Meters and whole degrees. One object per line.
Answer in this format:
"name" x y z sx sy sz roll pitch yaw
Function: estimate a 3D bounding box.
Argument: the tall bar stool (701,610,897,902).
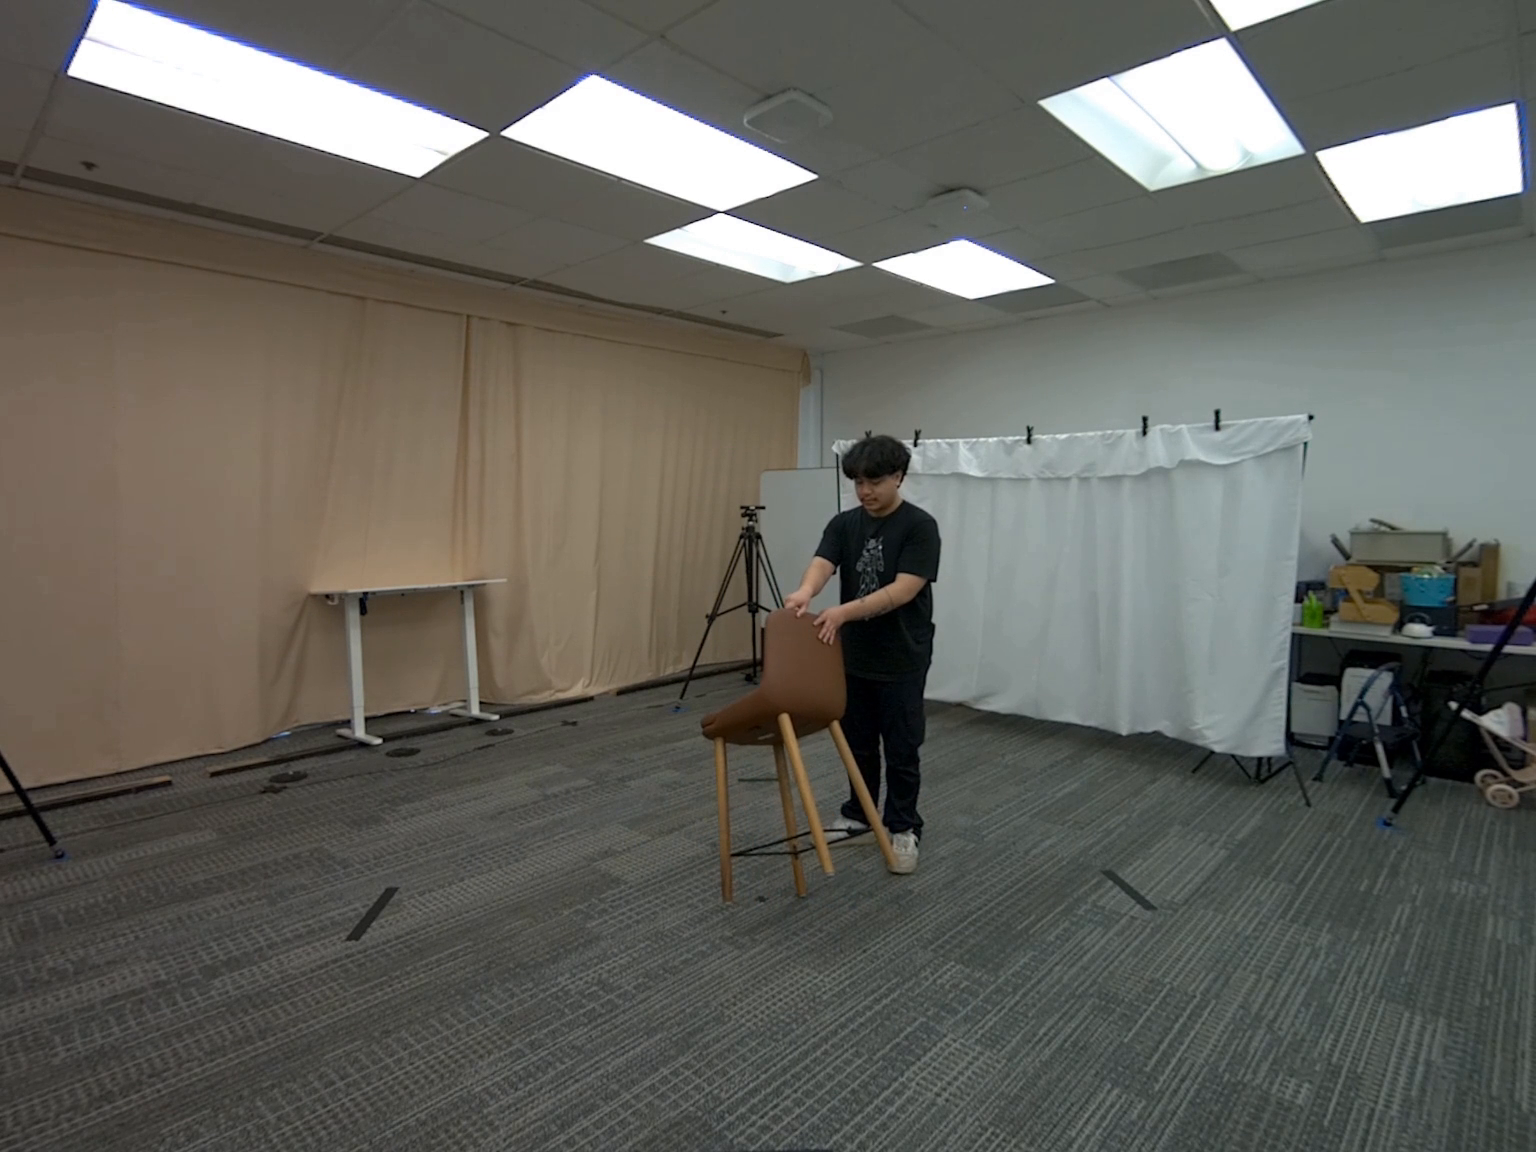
"tall bar stool" 0.071 0.623 2.937 0.476 0.906 0.440 -30 -30 35
